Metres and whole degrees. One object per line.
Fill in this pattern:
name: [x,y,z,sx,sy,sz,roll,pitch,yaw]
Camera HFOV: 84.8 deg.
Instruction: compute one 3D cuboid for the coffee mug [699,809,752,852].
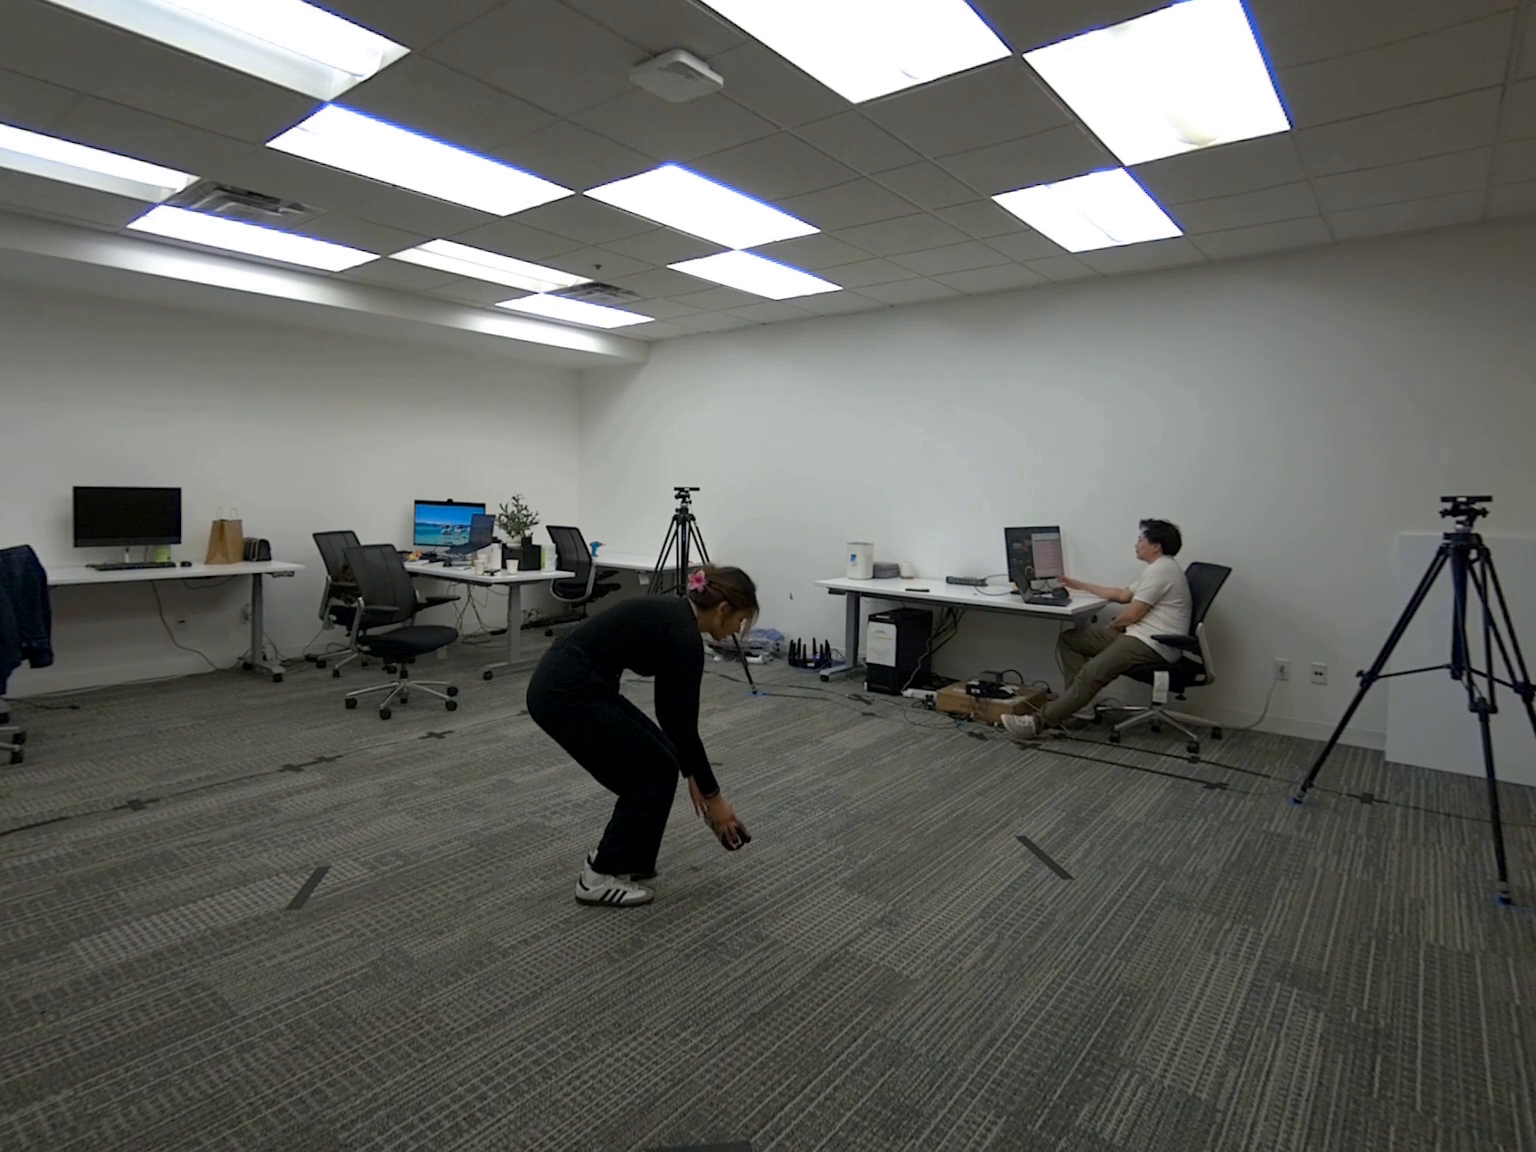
coffee mug: [-0.153,0.882,2.978,0.119,0.088,0.208,43,-15,-20]
